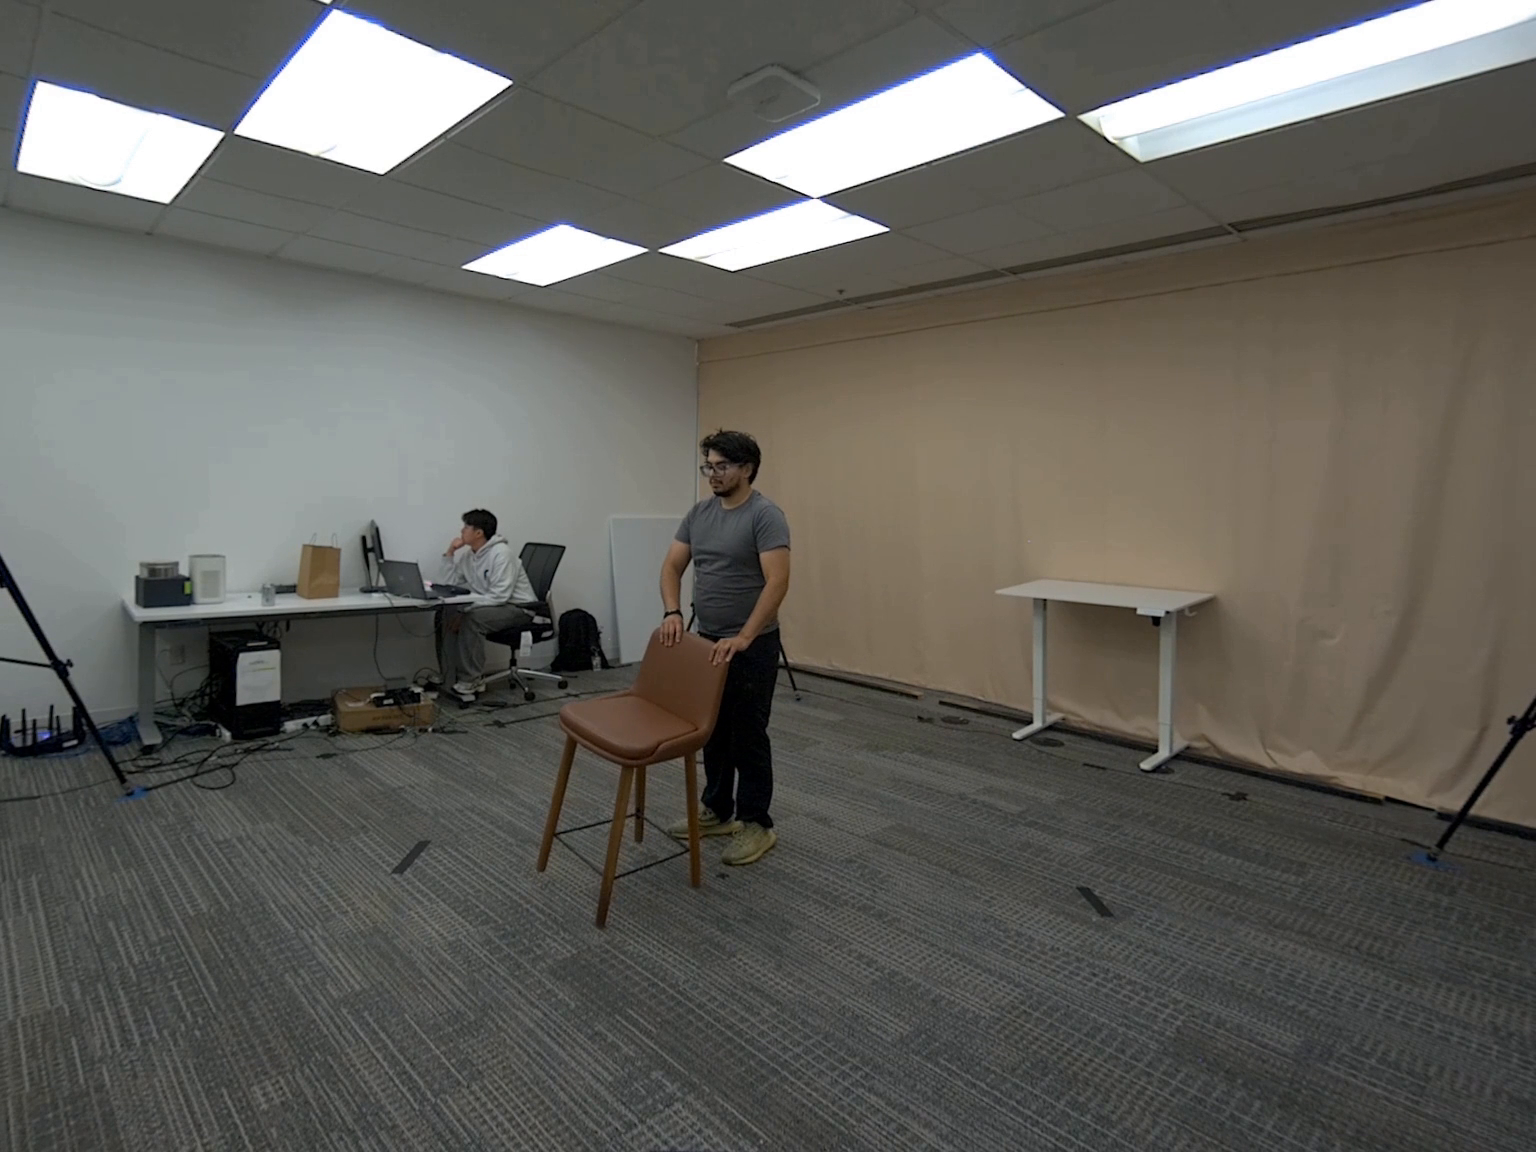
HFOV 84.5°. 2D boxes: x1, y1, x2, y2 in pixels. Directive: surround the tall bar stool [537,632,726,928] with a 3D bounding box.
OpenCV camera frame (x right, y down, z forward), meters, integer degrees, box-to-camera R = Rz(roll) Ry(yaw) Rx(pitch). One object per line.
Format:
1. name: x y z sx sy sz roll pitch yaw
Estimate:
1. tall bar stool: -0.472 0.659 2.936 0.456 0.886 0.470 2 10 -44
